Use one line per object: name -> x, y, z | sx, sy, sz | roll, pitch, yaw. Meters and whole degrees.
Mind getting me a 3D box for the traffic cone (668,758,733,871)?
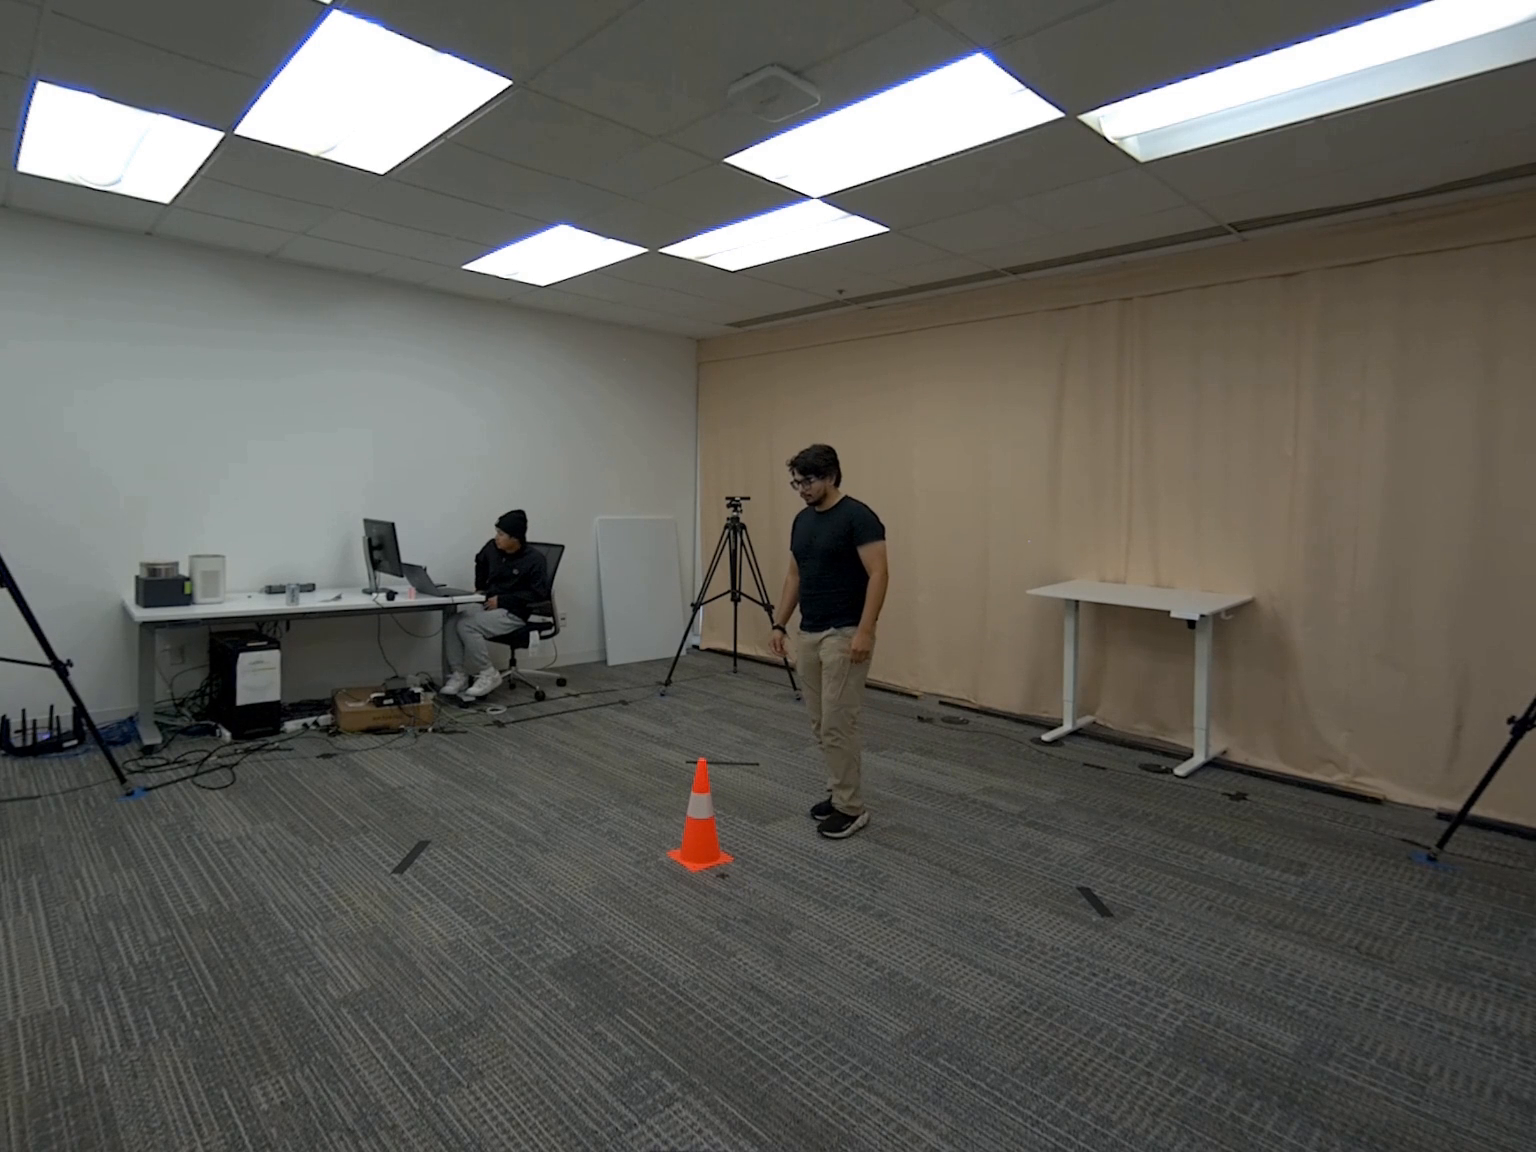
traffic cone -> -0.268, 0.905, 3.262 | 0.200, 0.383, 0.208 | 0, 3, -37
